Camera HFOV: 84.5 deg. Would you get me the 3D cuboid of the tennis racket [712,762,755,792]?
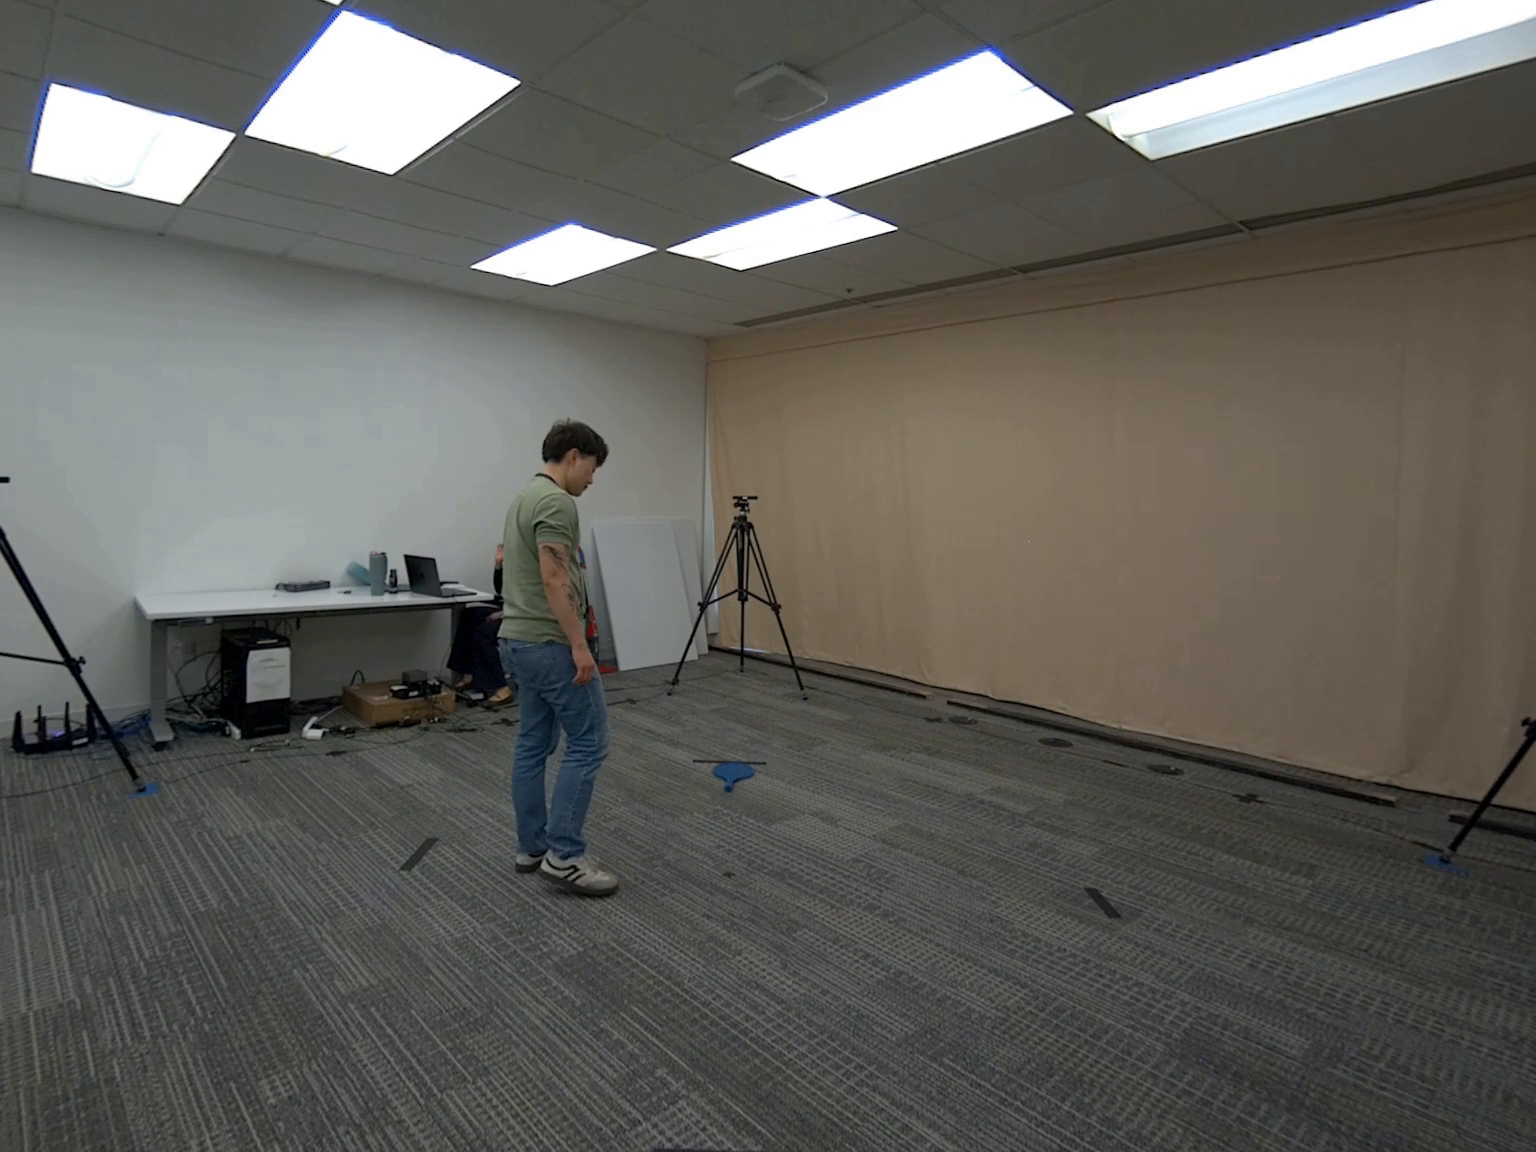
[{"bbox_3d":[-0.195,0.995,4.200,0.215,0.032,0.431,2,4,5],"label":"tennis racket"}]
